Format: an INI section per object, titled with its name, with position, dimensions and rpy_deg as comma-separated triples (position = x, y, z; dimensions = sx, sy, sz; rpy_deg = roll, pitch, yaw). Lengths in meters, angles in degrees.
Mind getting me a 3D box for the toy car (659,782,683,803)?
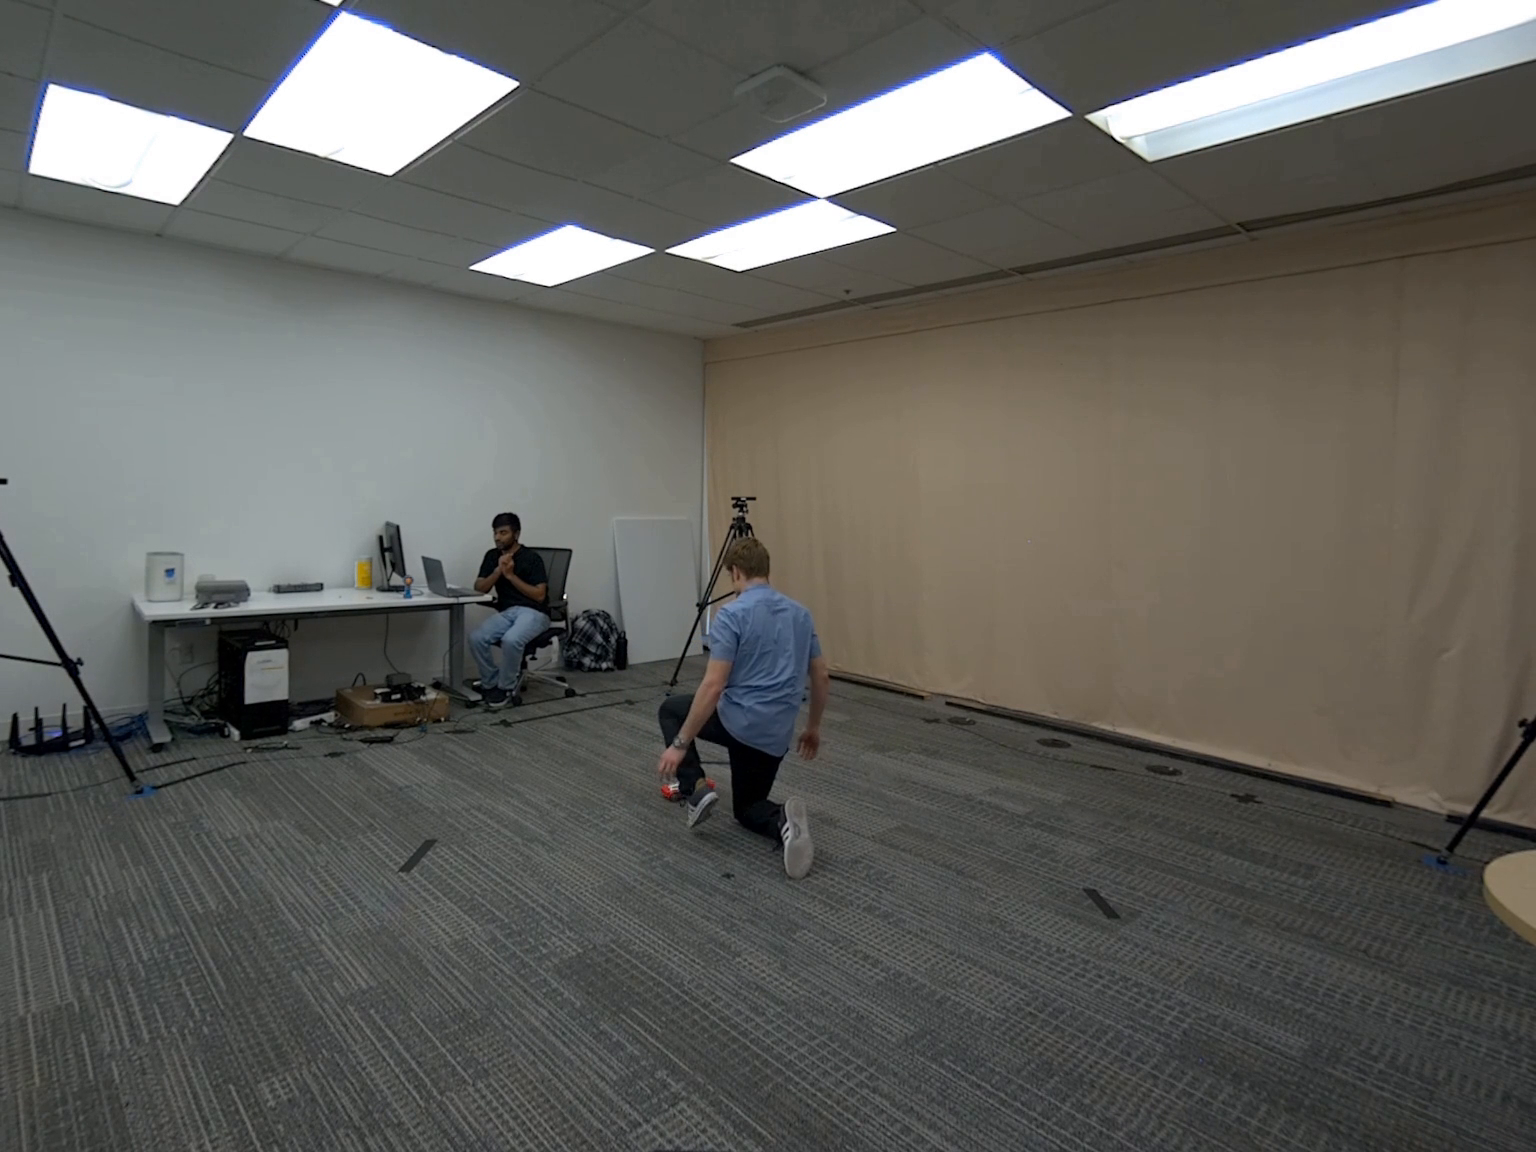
[toy car]
position = -0.386, 1.002, 3.945
dimensions = 0.250, 0.083, 0.133
rpy_deg = -11, 8, -27
